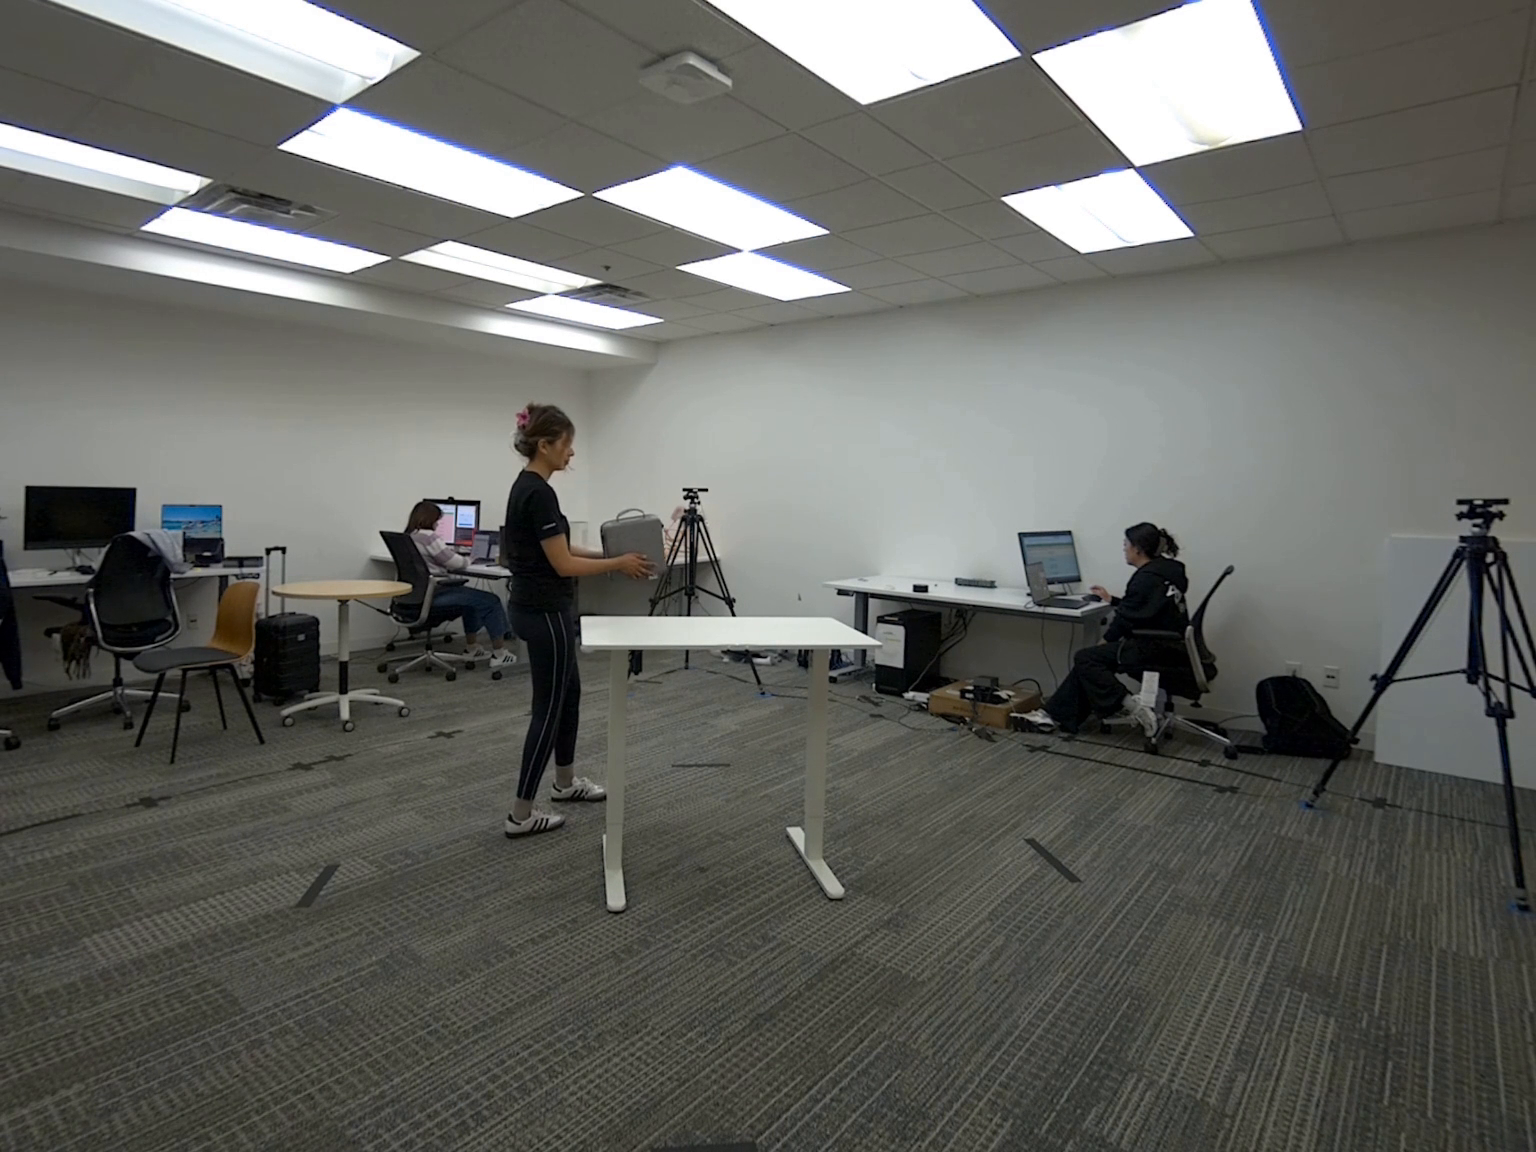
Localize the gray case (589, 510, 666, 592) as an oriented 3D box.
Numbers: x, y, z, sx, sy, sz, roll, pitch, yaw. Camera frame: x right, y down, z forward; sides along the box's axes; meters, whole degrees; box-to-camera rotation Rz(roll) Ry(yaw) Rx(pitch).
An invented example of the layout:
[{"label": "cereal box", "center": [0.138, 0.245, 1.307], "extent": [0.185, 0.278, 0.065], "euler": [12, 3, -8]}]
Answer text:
[{"label": "gray case", "center": [-0.578, -0.125, 3.587], "extent": [0.254, 0.257, 0.106], "euler": [-10, 11, -10]}]
